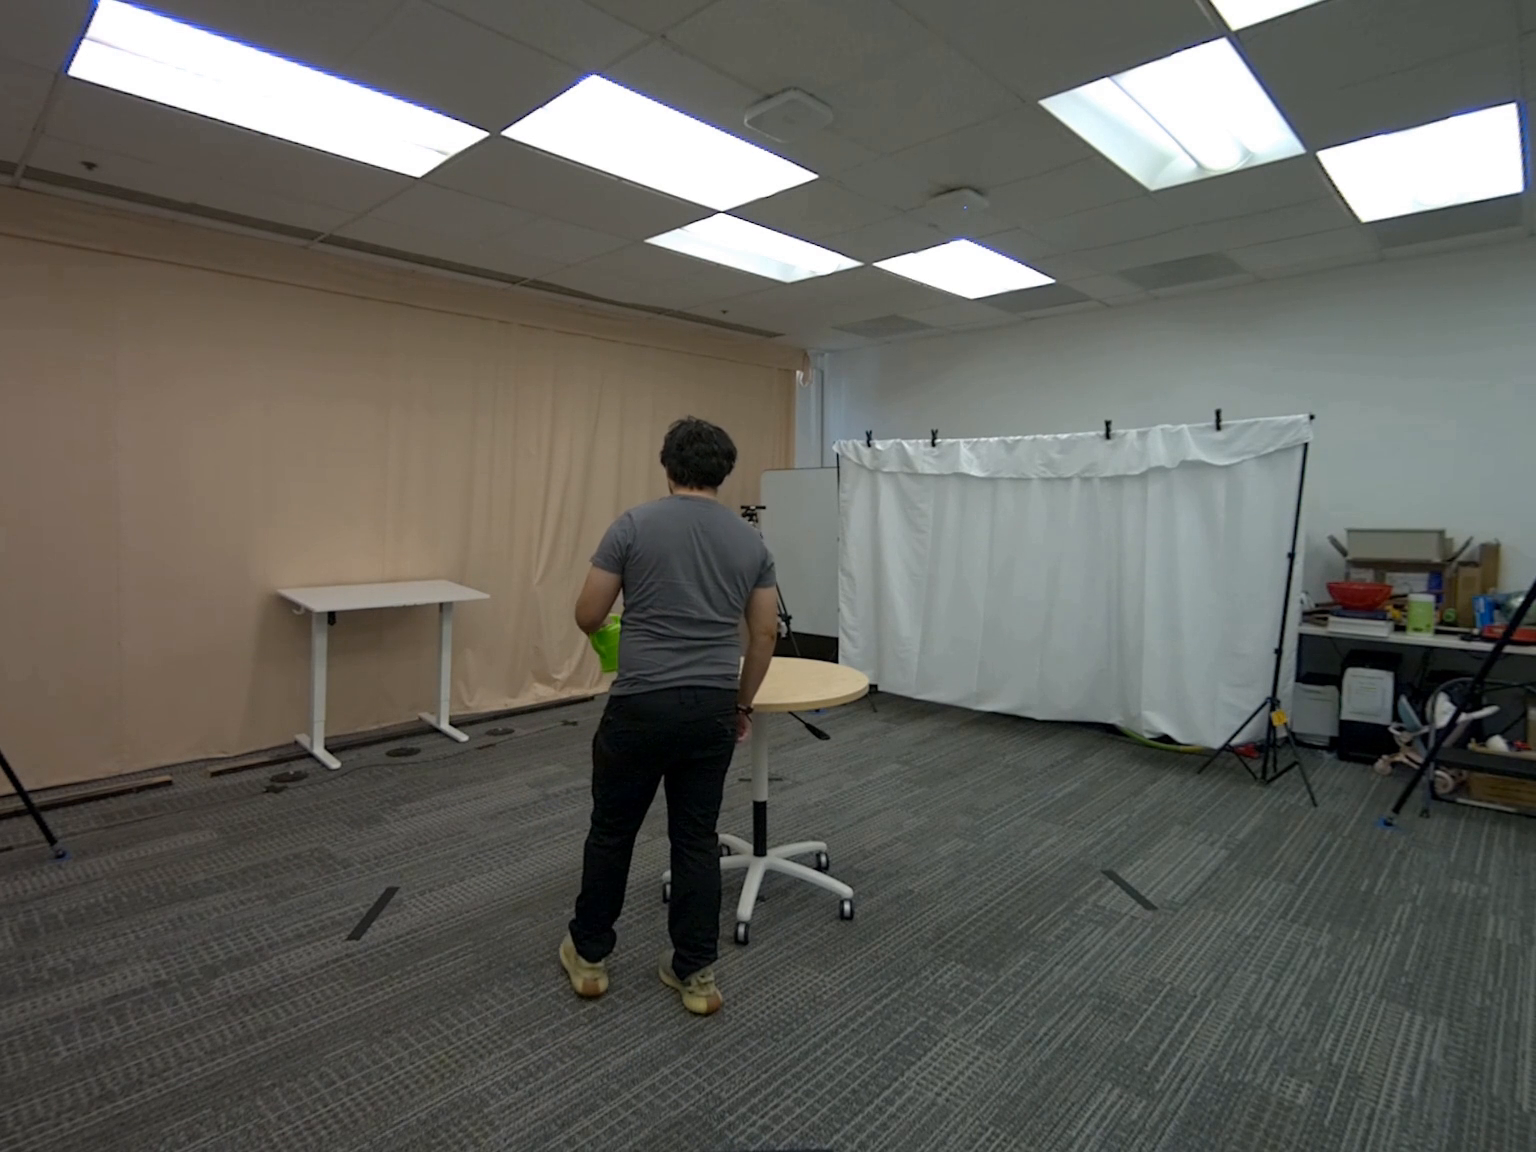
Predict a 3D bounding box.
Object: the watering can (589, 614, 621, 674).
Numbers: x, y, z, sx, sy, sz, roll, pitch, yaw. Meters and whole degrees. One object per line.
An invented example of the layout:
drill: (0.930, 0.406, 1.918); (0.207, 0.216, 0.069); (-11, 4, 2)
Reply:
watering can: (-0.475, 0.204, 2.728); (0.101, 0.176, 0.272); (-8, 9, 38)
